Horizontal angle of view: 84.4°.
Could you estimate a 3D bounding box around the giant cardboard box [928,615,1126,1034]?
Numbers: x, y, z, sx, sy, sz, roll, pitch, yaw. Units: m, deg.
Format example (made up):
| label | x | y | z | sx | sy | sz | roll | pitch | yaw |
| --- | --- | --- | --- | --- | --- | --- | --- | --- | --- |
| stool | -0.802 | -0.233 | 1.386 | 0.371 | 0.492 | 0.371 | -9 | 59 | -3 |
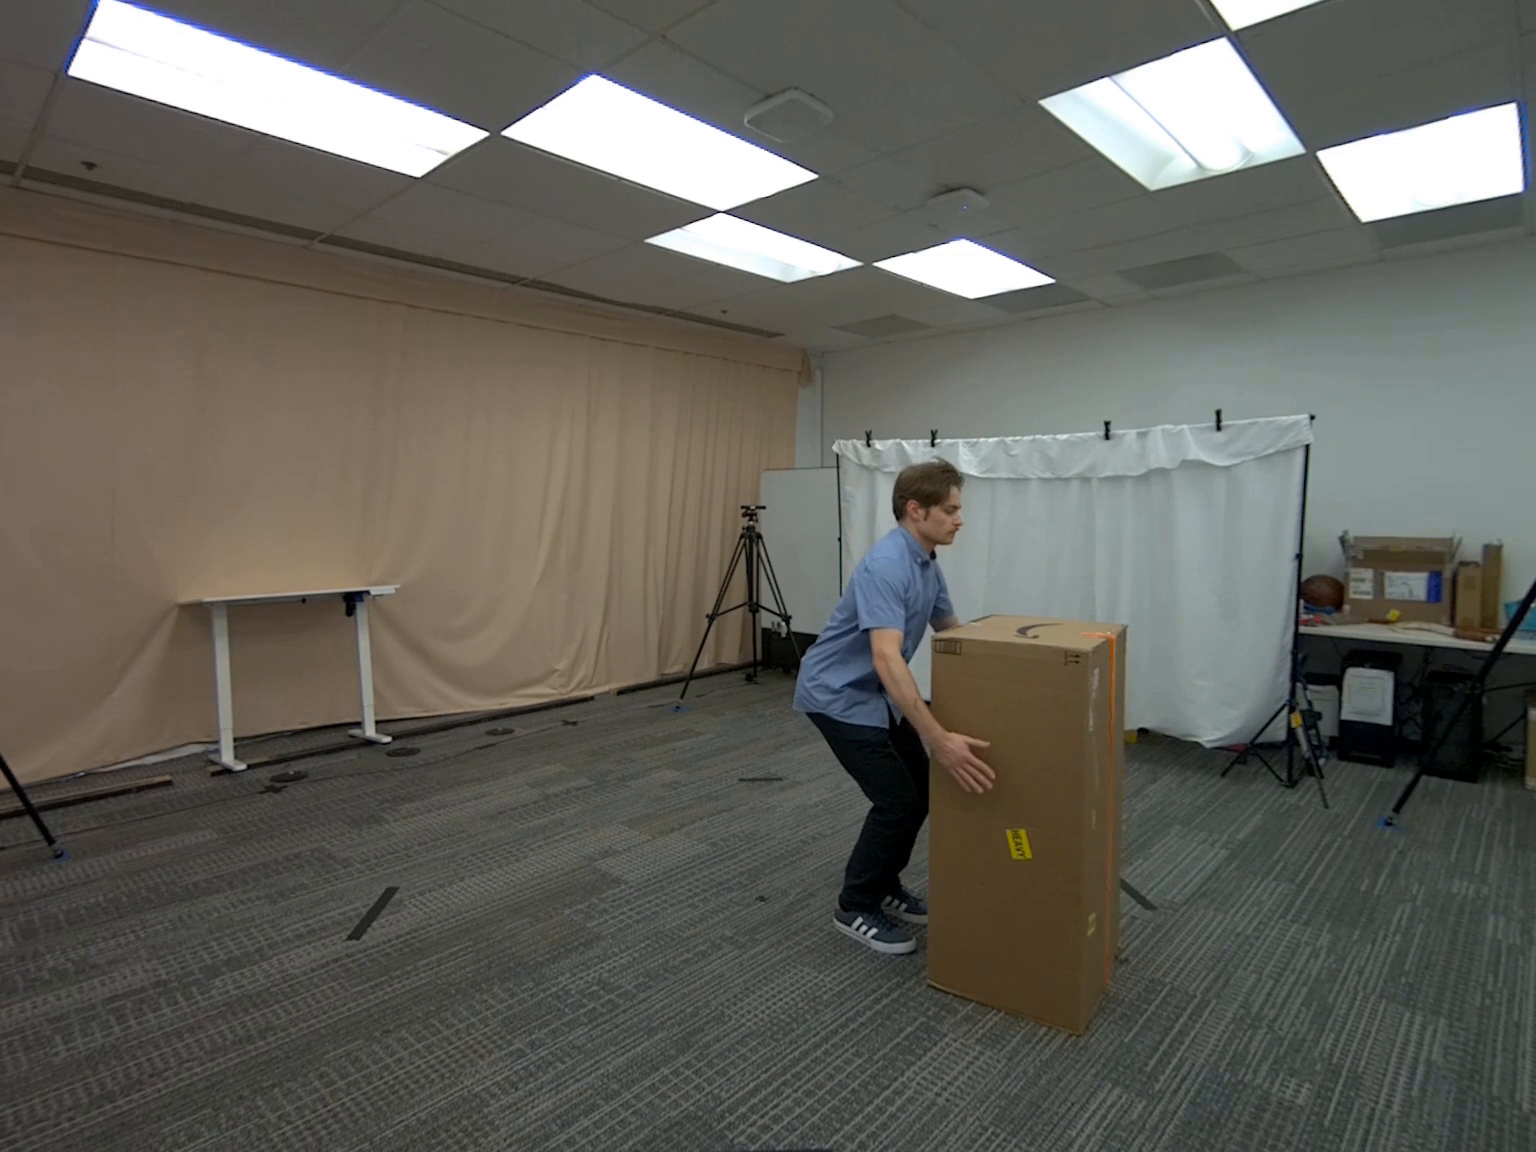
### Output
| label | x | y | z | sx | sy | sz | roll | pitch | yaw |
| --- | --- | --- | --- | --- | --- | --- | --- | --- | --- |
| giant cardboard box | 0.801 | 0.671 | 2.522 | 0.439 | 1.024 | 0.561 | 2 | 4 | 34 |
